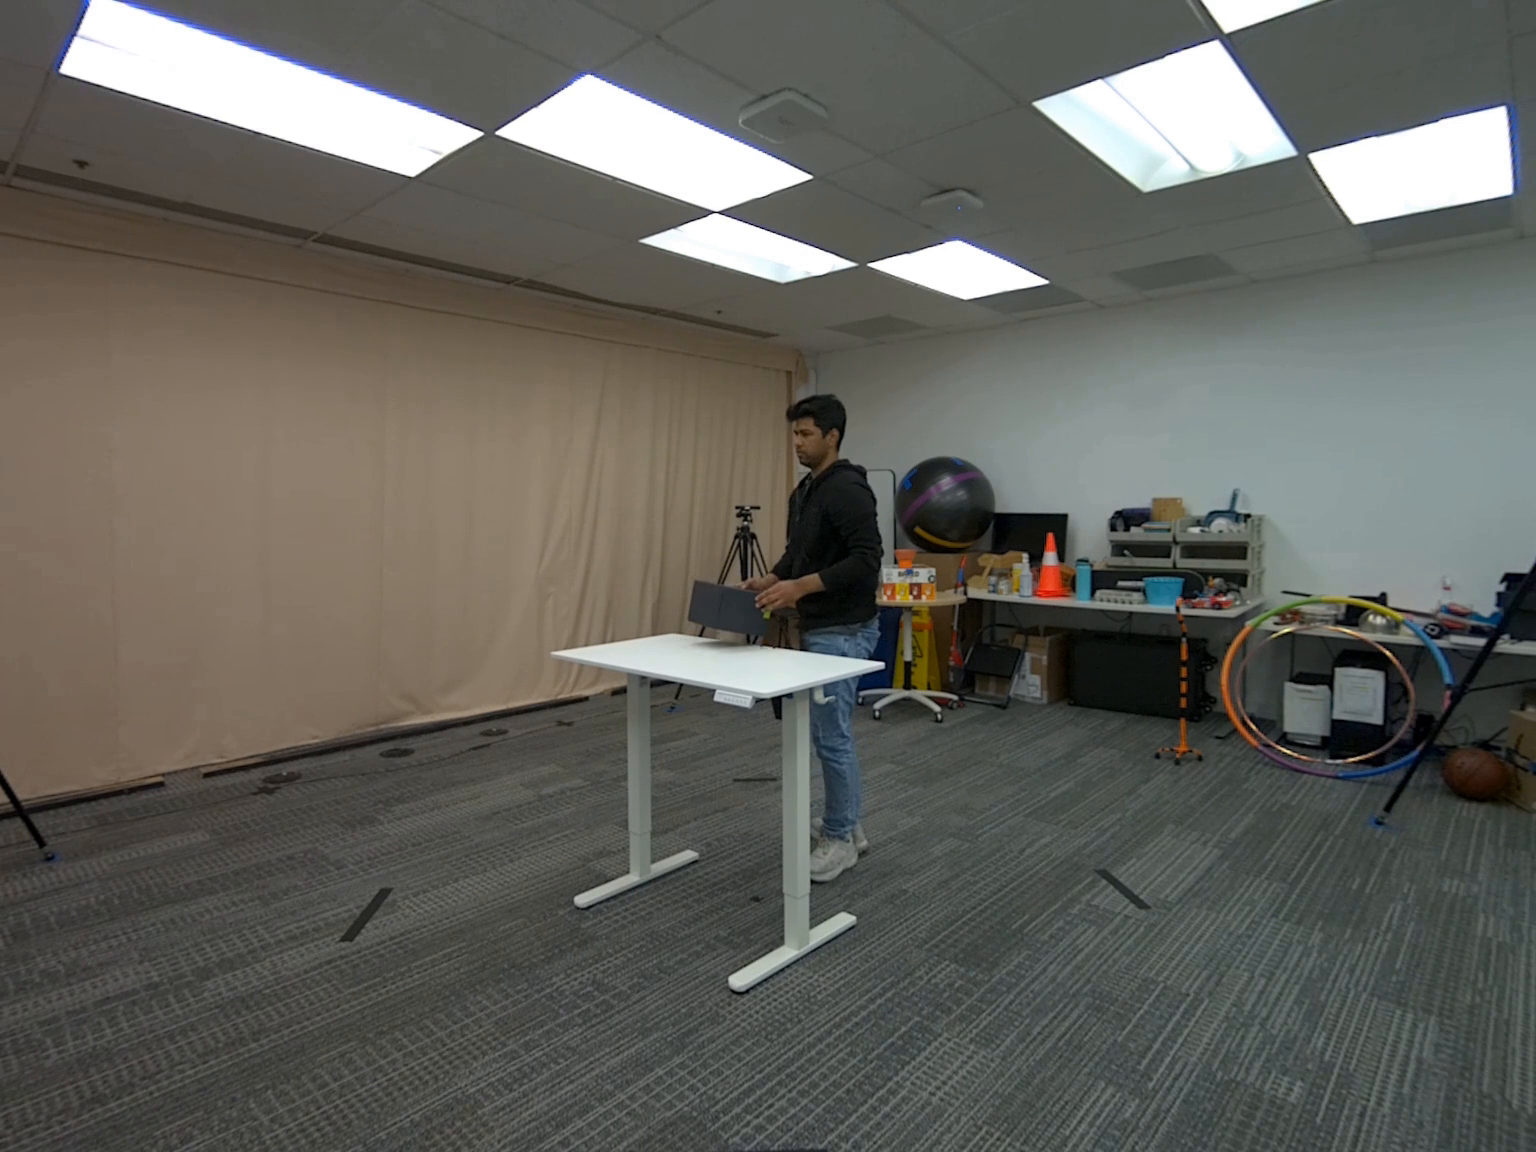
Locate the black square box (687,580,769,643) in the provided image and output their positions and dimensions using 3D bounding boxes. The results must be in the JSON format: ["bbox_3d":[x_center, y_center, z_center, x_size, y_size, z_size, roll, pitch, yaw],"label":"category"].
[{"bbox_3d":[-0.133,0.124,3.124,0.211,0.156,0.234,9,0,-30],"label":"black square box"}]
